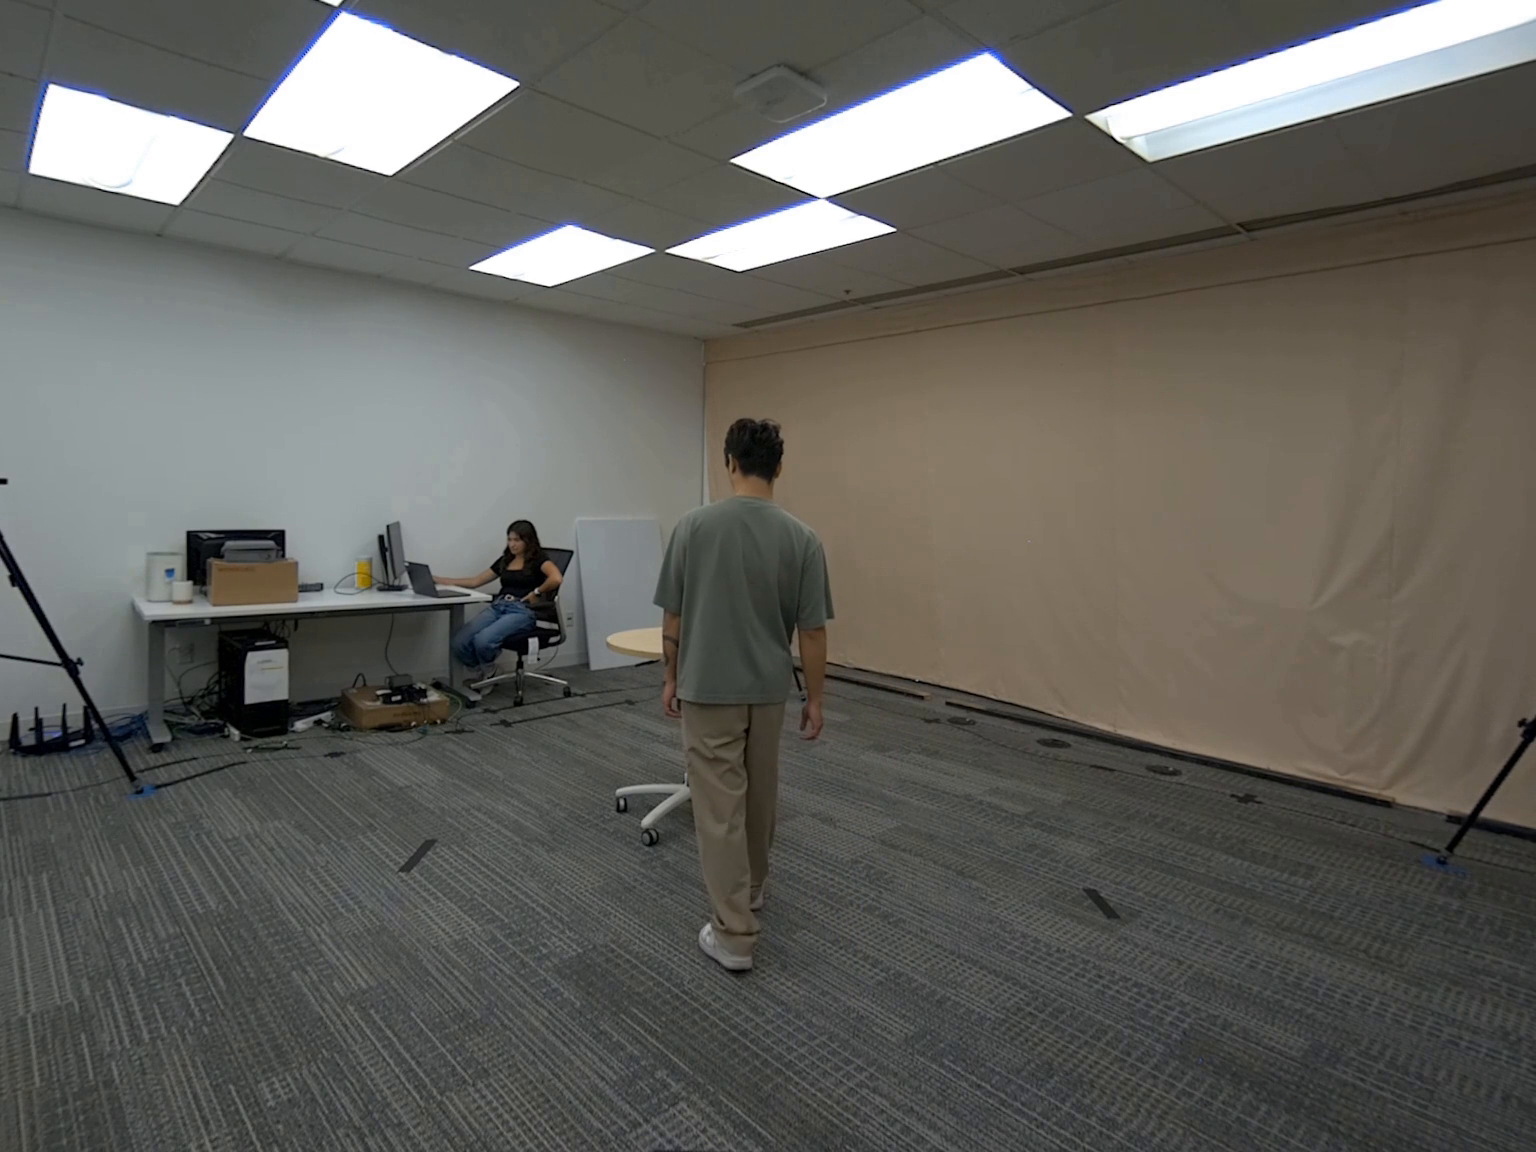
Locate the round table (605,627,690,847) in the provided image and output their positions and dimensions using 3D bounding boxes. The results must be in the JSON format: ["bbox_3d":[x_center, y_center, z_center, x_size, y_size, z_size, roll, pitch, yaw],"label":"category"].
[{"bbox_3d":[-0.337,0.665,3.653,0.784,0.784,0.788,2,4,-1],"label":"round table"}]
